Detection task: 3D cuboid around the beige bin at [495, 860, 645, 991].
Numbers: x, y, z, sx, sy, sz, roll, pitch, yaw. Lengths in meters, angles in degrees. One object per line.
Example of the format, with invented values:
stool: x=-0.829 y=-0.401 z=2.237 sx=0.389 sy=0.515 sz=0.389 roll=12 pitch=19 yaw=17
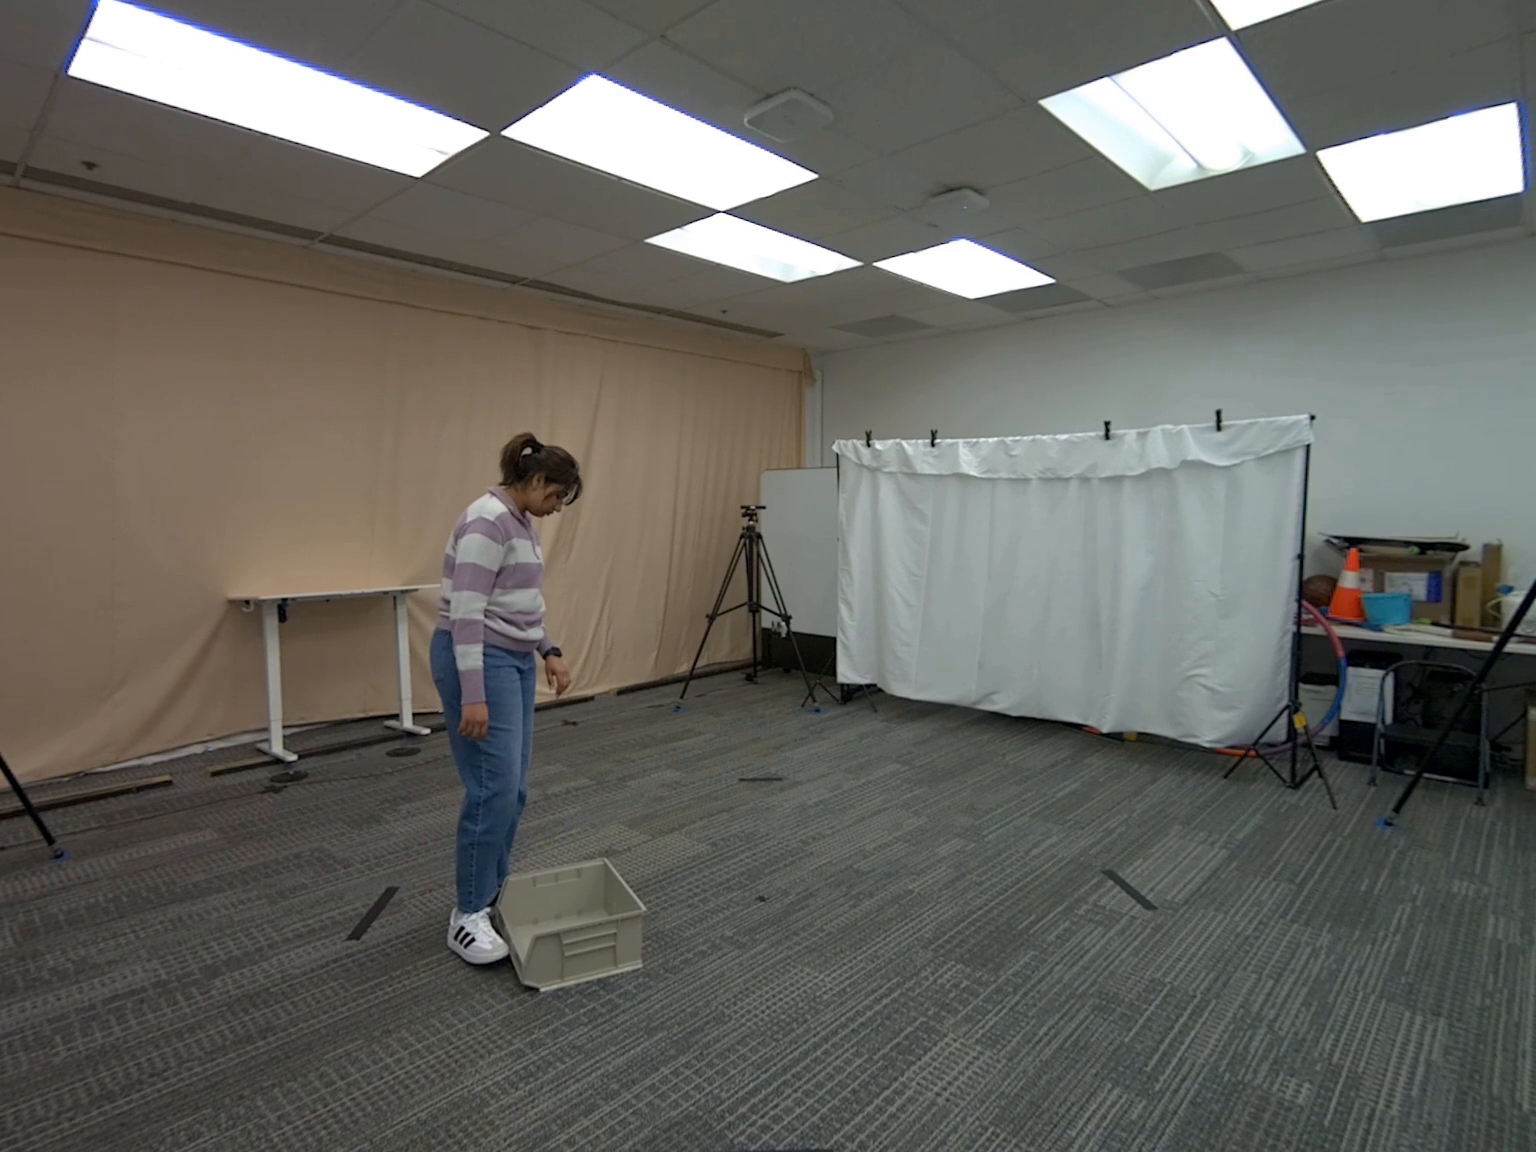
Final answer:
beige bin: x=-0.625 y=1.091 z=2.644 sx=0.368 sy=0.189 sz=0.434 roll=-1 pitch=3 yaw=-27
